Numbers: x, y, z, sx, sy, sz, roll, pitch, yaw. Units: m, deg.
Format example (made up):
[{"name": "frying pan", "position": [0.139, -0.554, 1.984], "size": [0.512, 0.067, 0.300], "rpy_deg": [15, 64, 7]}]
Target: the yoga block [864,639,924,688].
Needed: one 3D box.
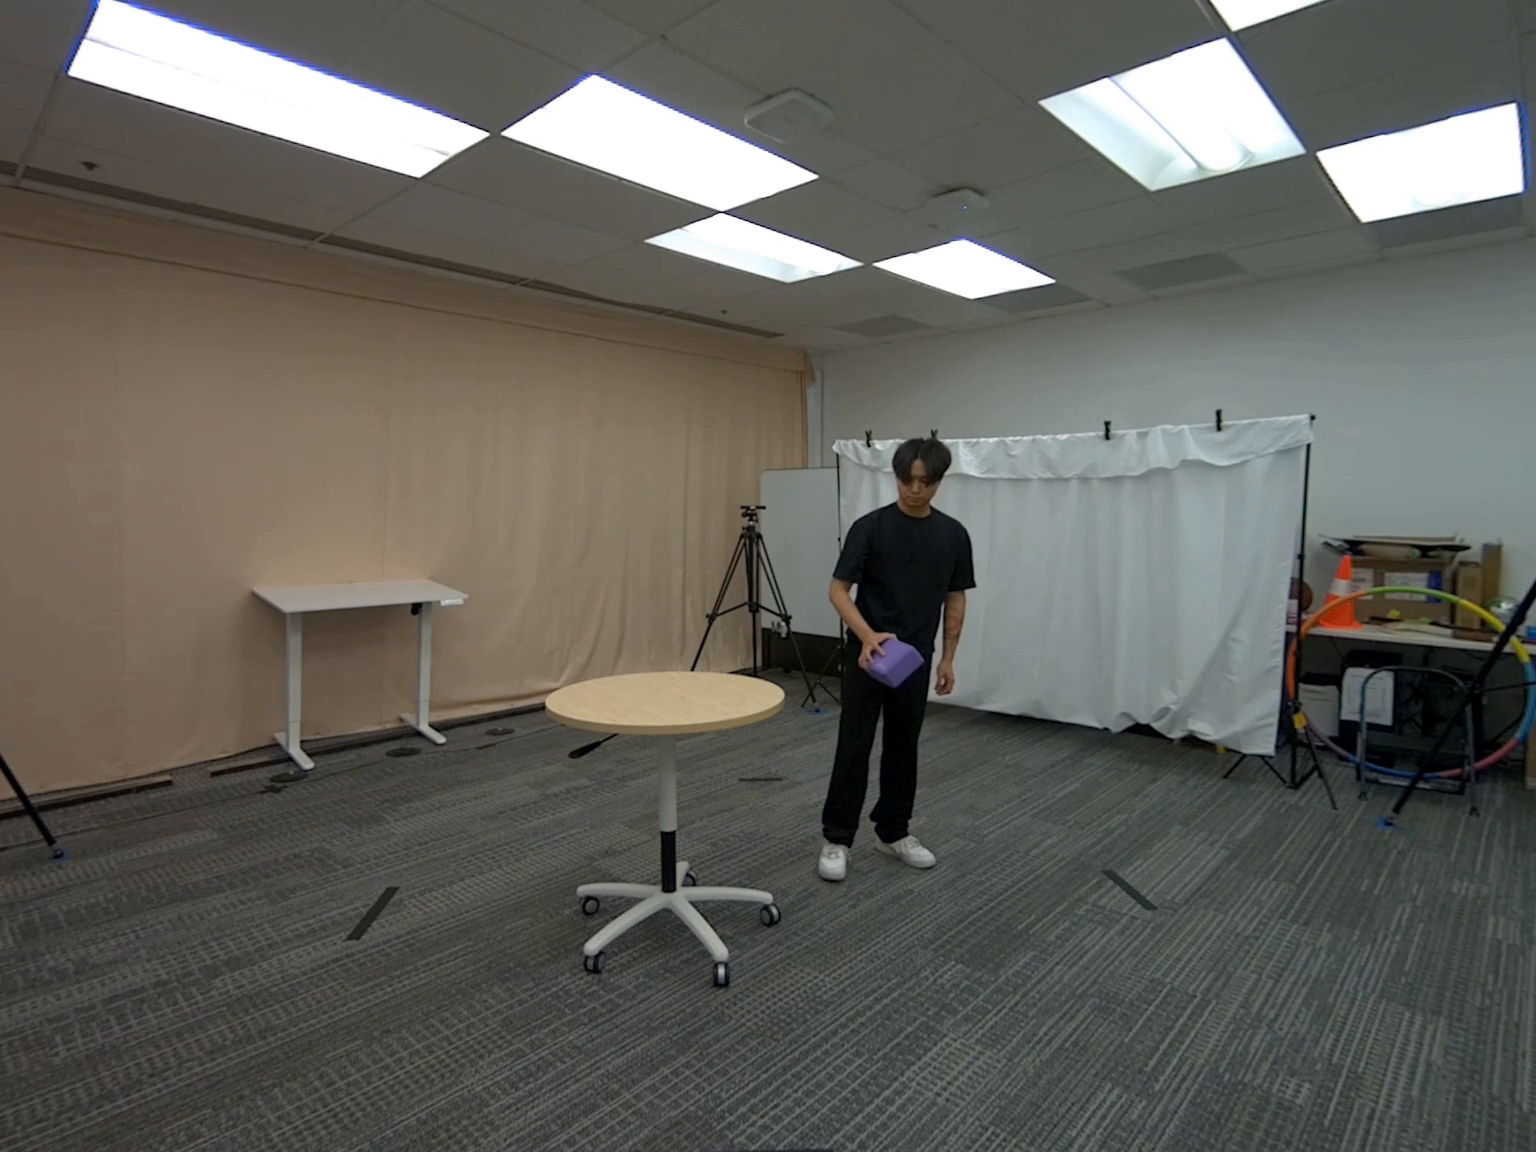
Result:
[{"name": "yoga block", "position": [0.444, 0.305, 3.000], "size": [0.148, 0.075, 0.232], "rpy_deg": [-41, 12, -6]}]
